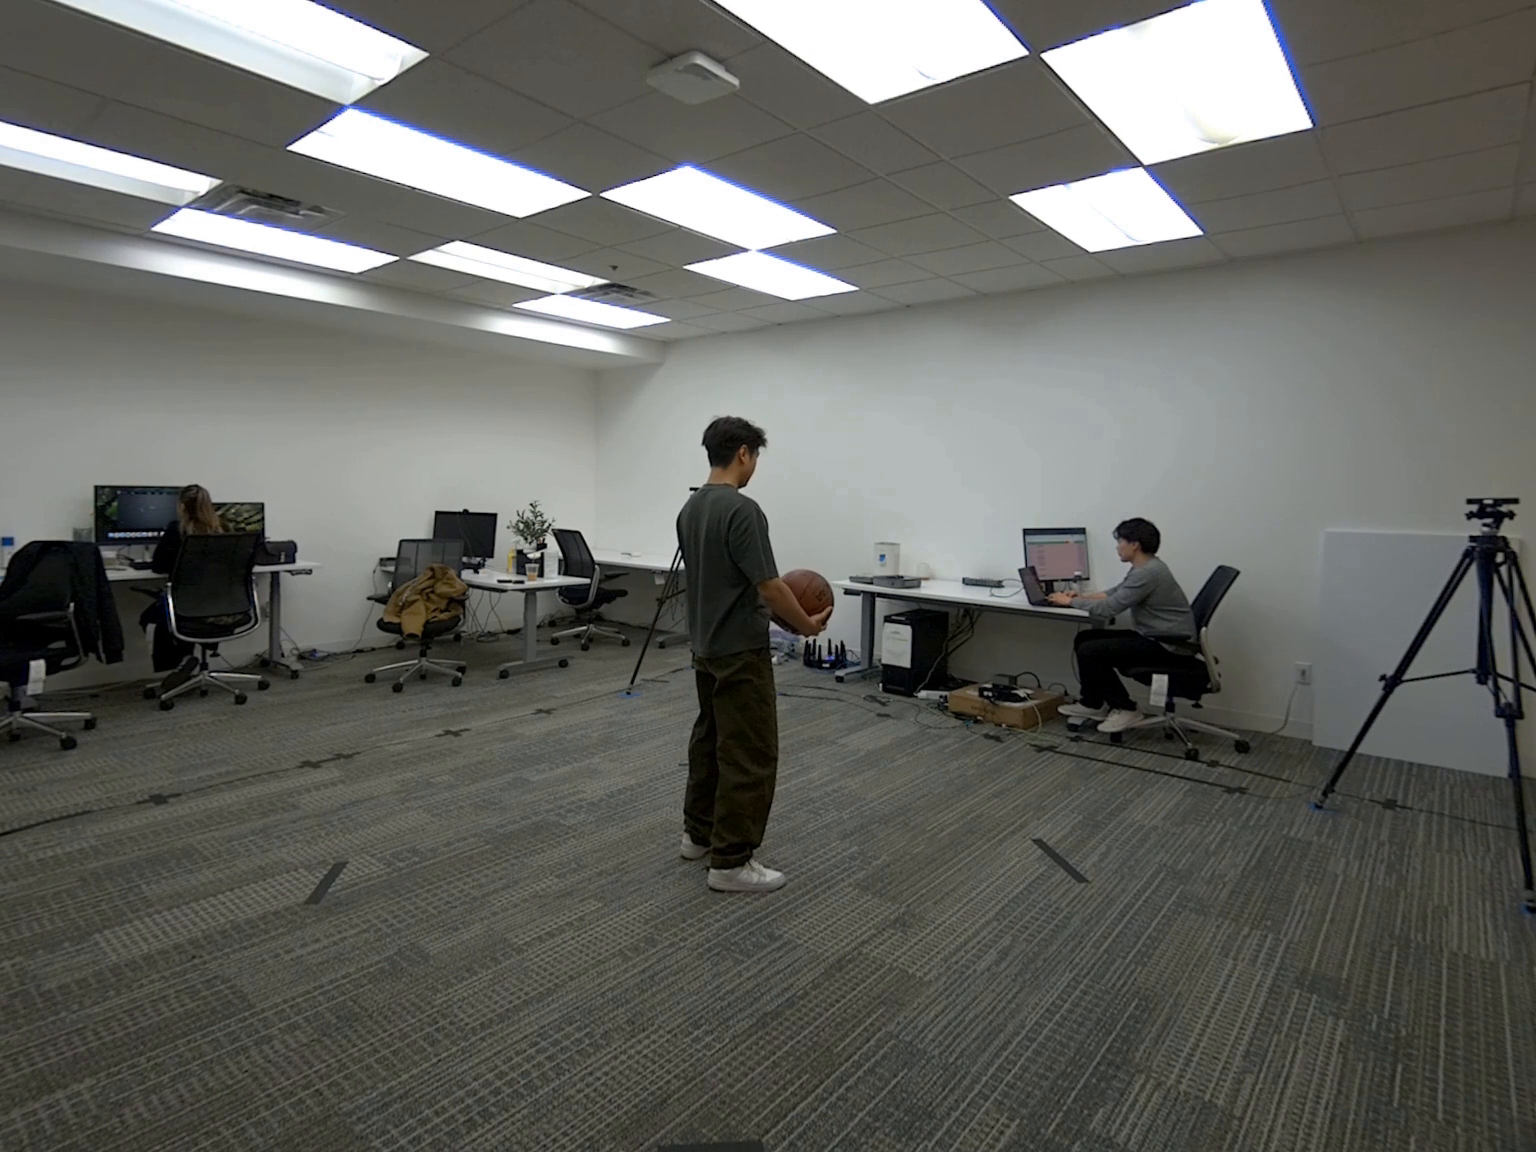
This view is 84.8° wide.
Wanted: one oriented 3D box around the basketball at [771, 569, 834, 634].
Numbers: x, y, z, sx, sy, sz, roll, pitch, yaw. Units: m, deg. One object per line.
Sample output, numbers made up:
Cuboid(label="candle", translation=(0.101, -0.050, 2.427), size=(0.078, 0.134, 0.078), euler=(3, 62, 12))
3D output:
Cuboid(label="basketball", translation=(0.111, 0.091, 3.179), size=(0.235, 0.235, 0.237), euler=(1, 4, -2))
